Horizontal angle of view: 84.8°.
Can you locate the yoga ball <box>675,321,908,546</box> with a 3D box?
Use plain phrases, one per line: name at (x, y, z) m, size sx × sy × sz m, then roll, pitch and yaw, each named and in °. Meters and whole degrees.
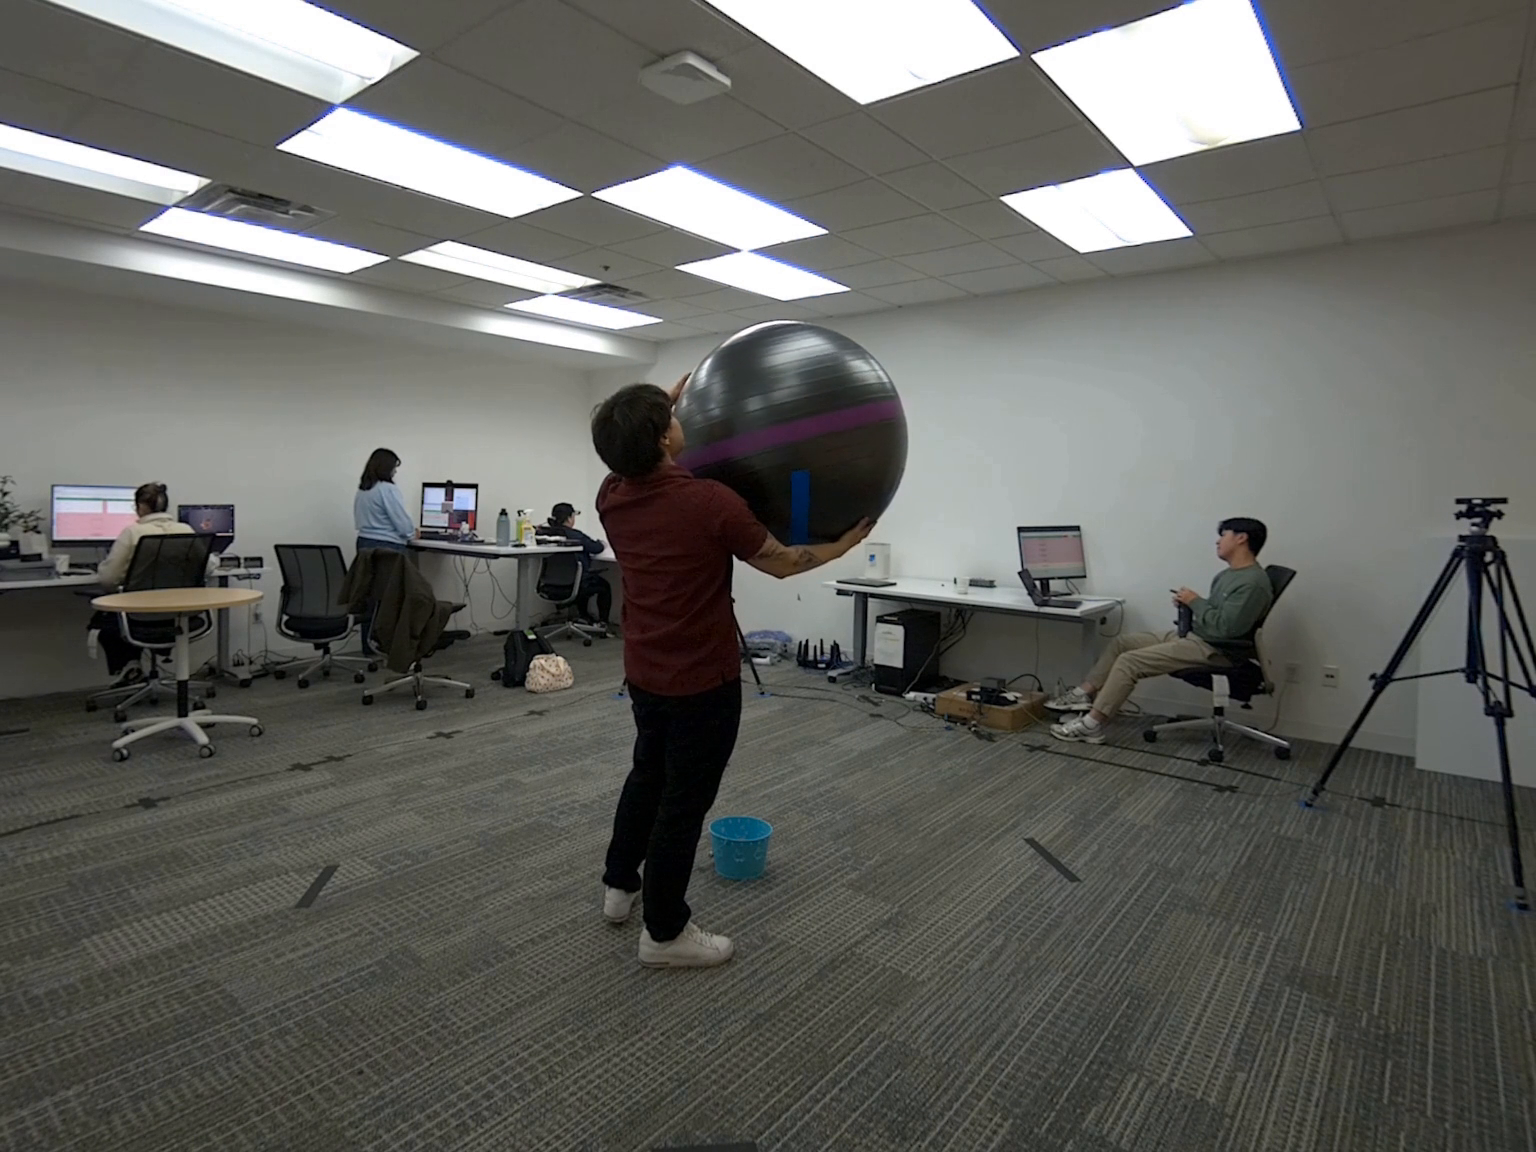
yoga ball at (0.060, -0.428, 2.742) m, size 0.757 × 0.756 × 0.762 m, roll 1°, pitch 4°, yaw -2°
